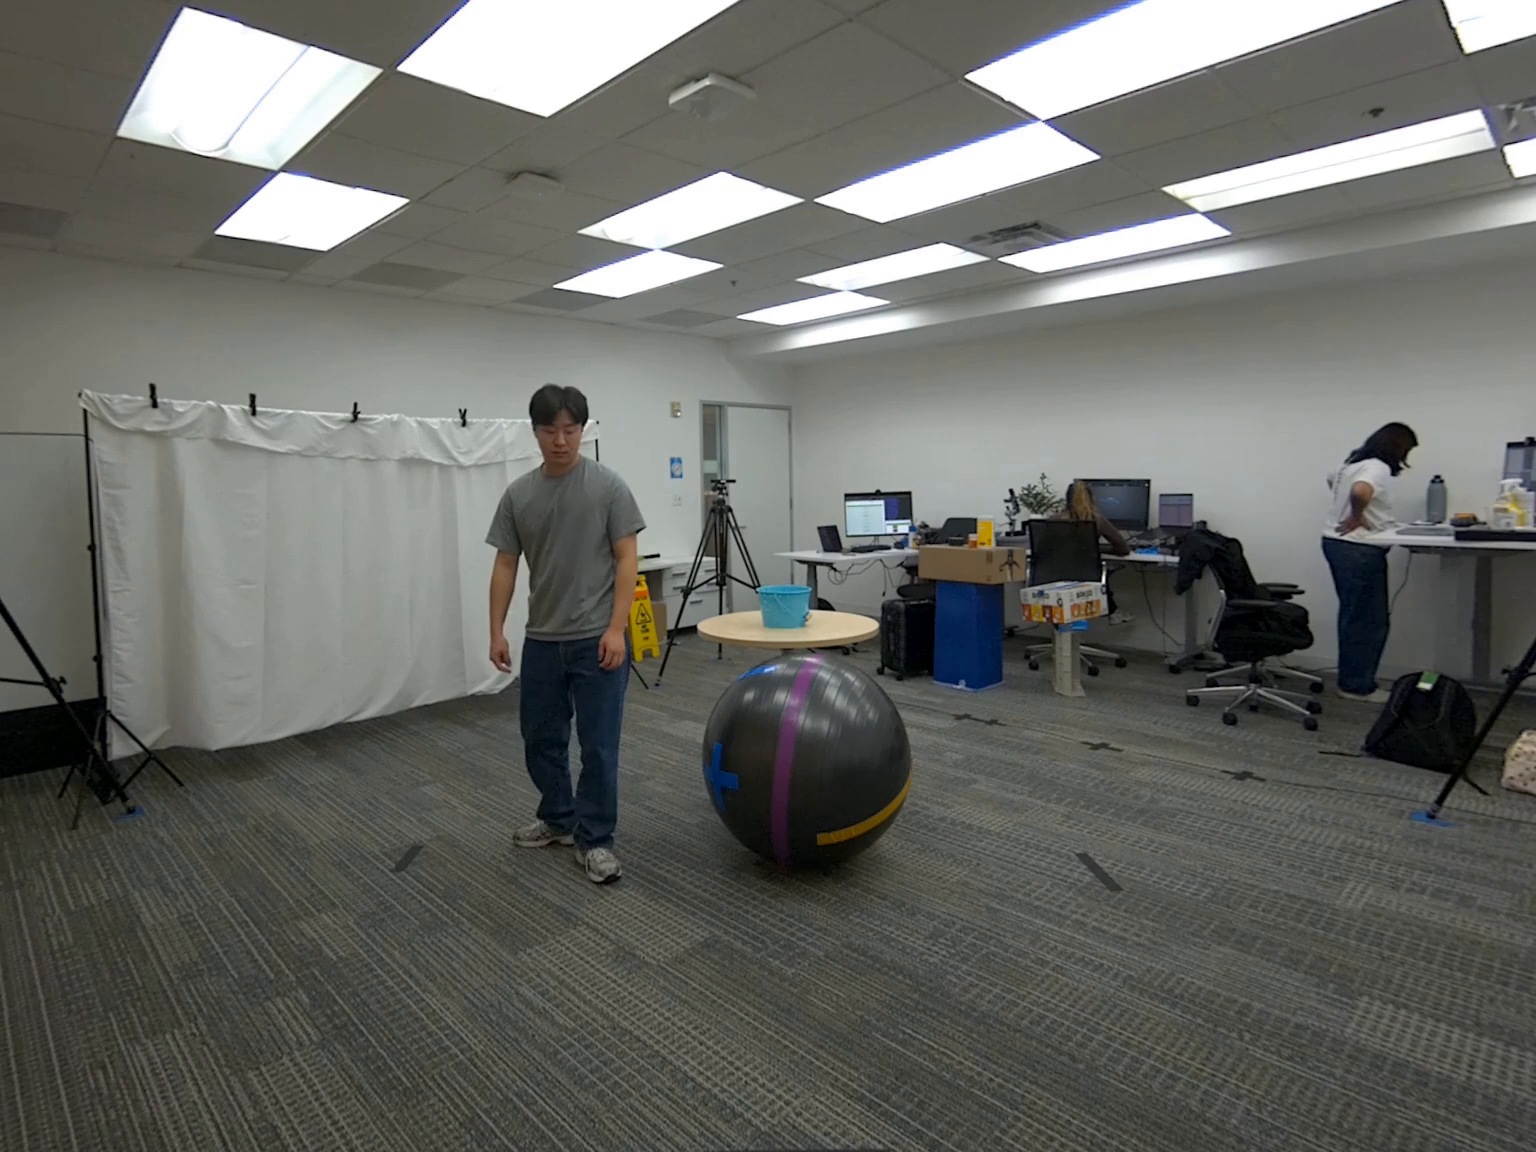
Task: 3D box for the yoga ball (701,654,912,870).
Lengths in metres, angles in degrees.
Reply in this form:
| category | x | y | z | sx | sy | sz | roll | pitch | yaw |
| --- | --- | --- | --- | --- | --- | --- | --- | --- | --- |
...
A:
| category | x | y | z | sx | sy | sz | roll | pitch | yaw |
| --- | --- | --- | --- | --- | --- | --- | --- | --- | --- |
| yoga ball | 0.146 | 0.669 | 3.135 | 0.757 | 0.755 | 0.762 | -1 | 5 | -2 |
